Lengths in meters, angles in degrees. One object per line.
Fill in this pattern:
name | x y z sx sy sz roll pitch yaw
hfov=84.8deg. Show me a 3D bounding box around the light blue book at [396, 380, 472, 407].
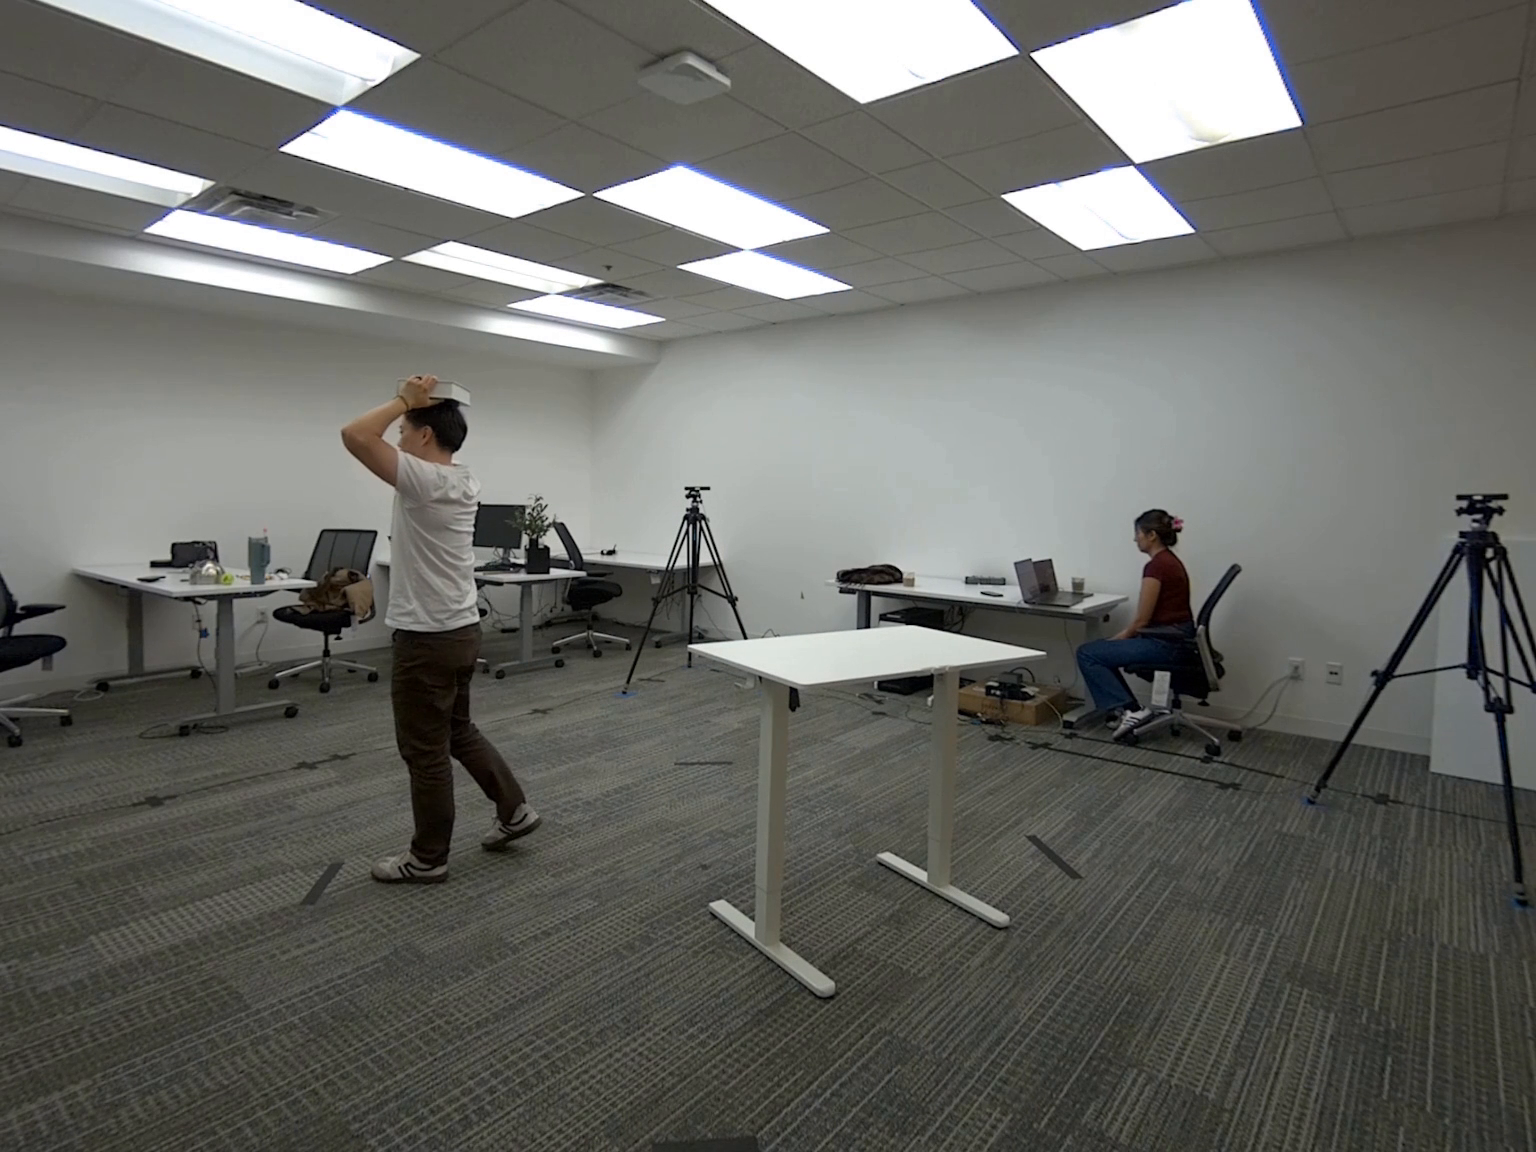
light blue book | -1.175 -0.641 2.967 0.190 0.059 0.263 2 5 -7
